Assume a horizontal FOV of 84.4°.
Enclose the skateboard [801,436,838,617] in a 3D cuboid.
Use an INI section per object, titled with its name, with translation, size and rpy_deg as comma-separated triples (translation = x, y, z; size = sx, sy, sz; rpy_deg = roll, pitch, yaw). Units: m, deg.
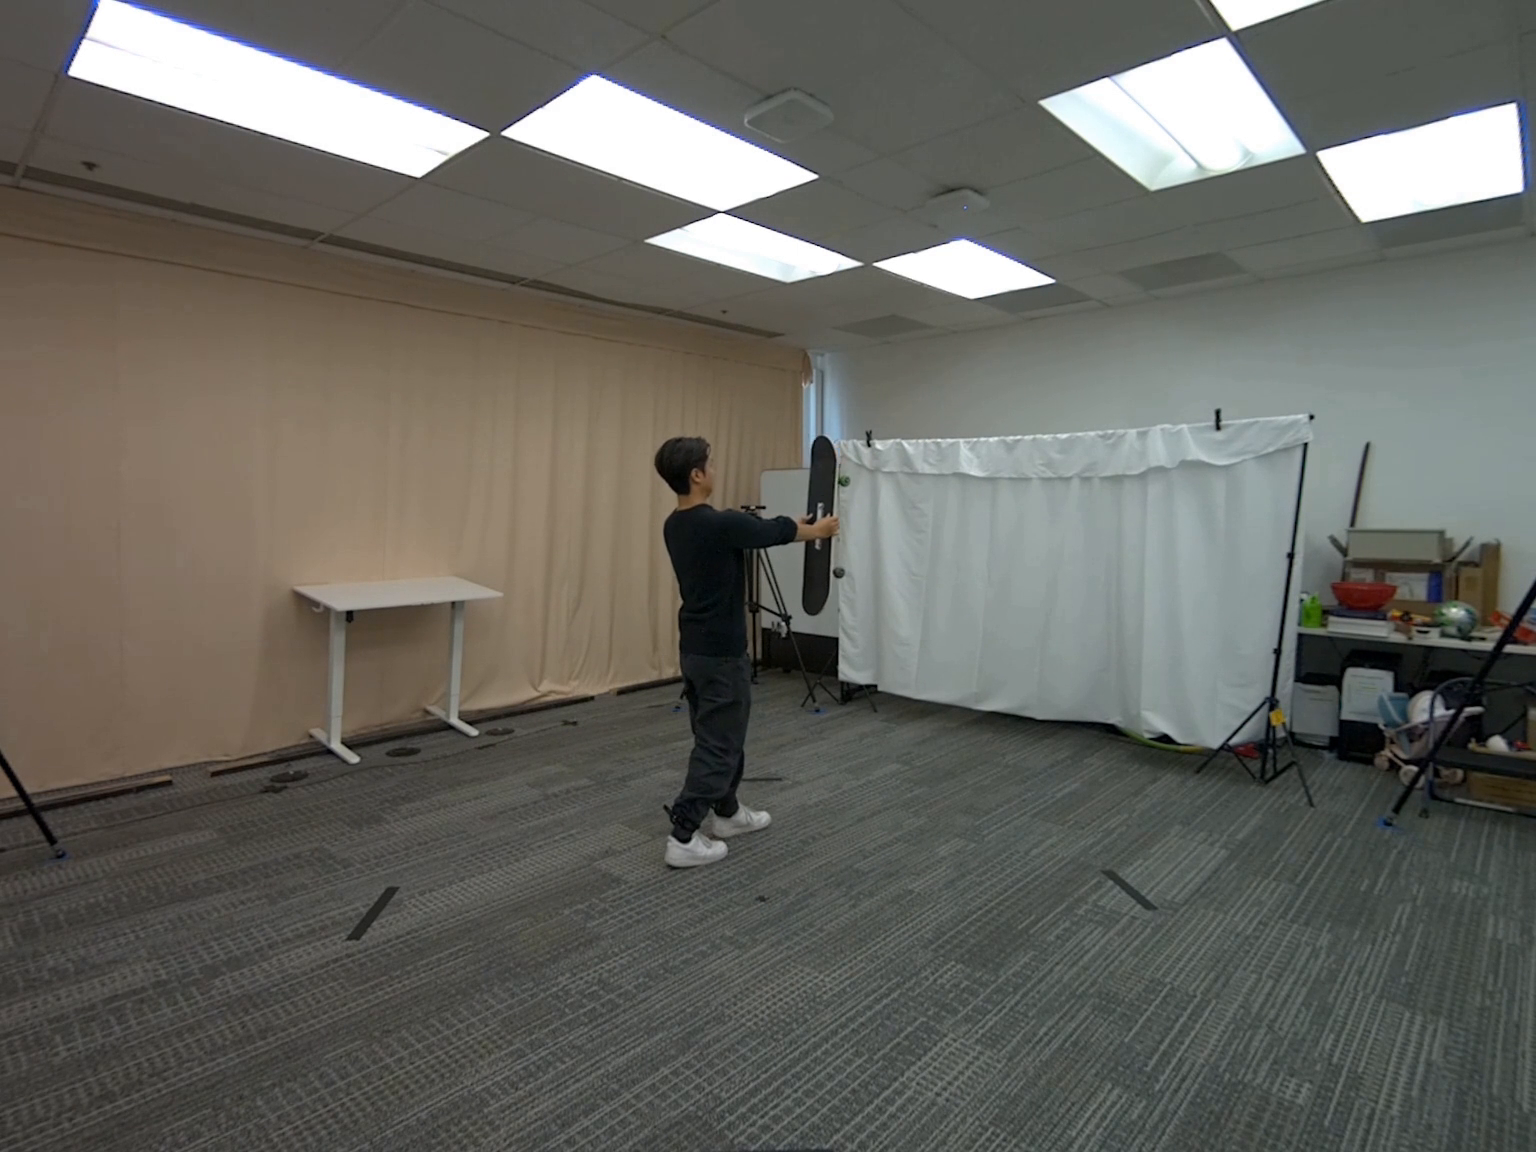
[skateboard]
translation = 0.251, -0.216, 3.692
size = 0.107, 0.785, 0.198
rpy_deg = 3, 1, -27
